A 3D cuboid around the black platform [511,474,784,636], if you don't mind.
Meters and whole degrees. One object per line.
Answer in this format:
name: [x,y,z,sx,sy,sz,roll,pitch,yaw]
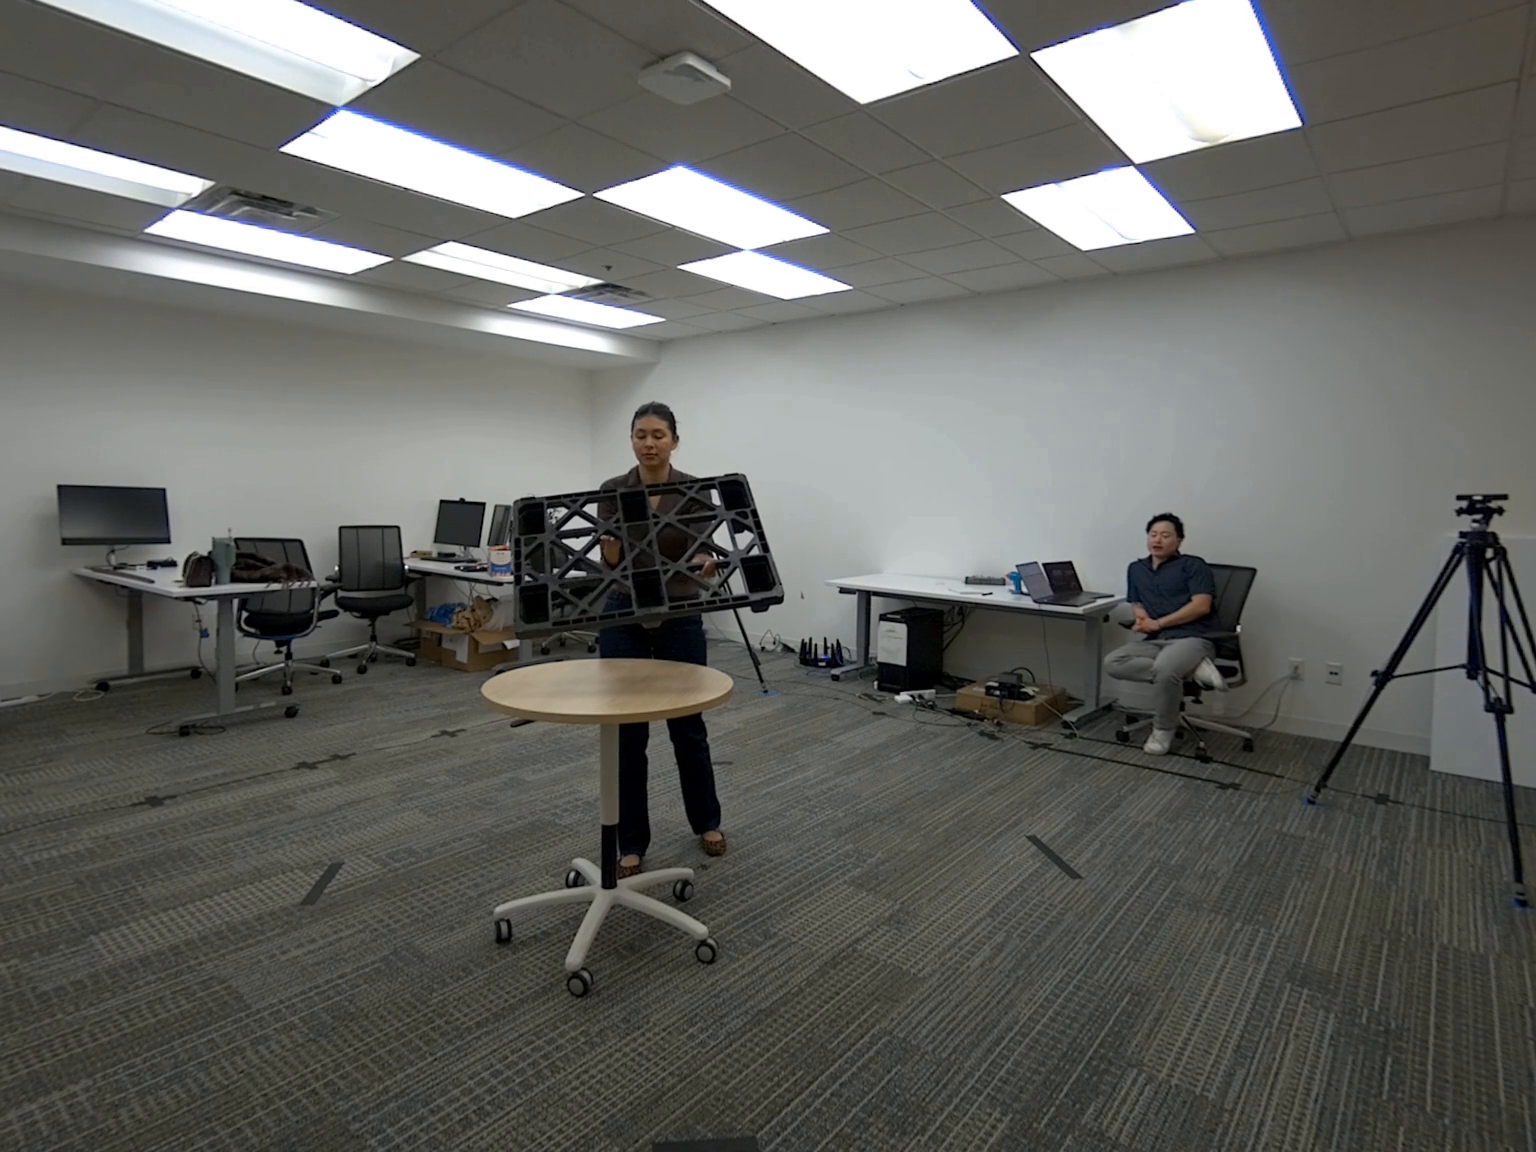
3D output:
black platform: [-0.407,-0.054,2.738,0.800,0.139,0.627,-8,47,-7]
